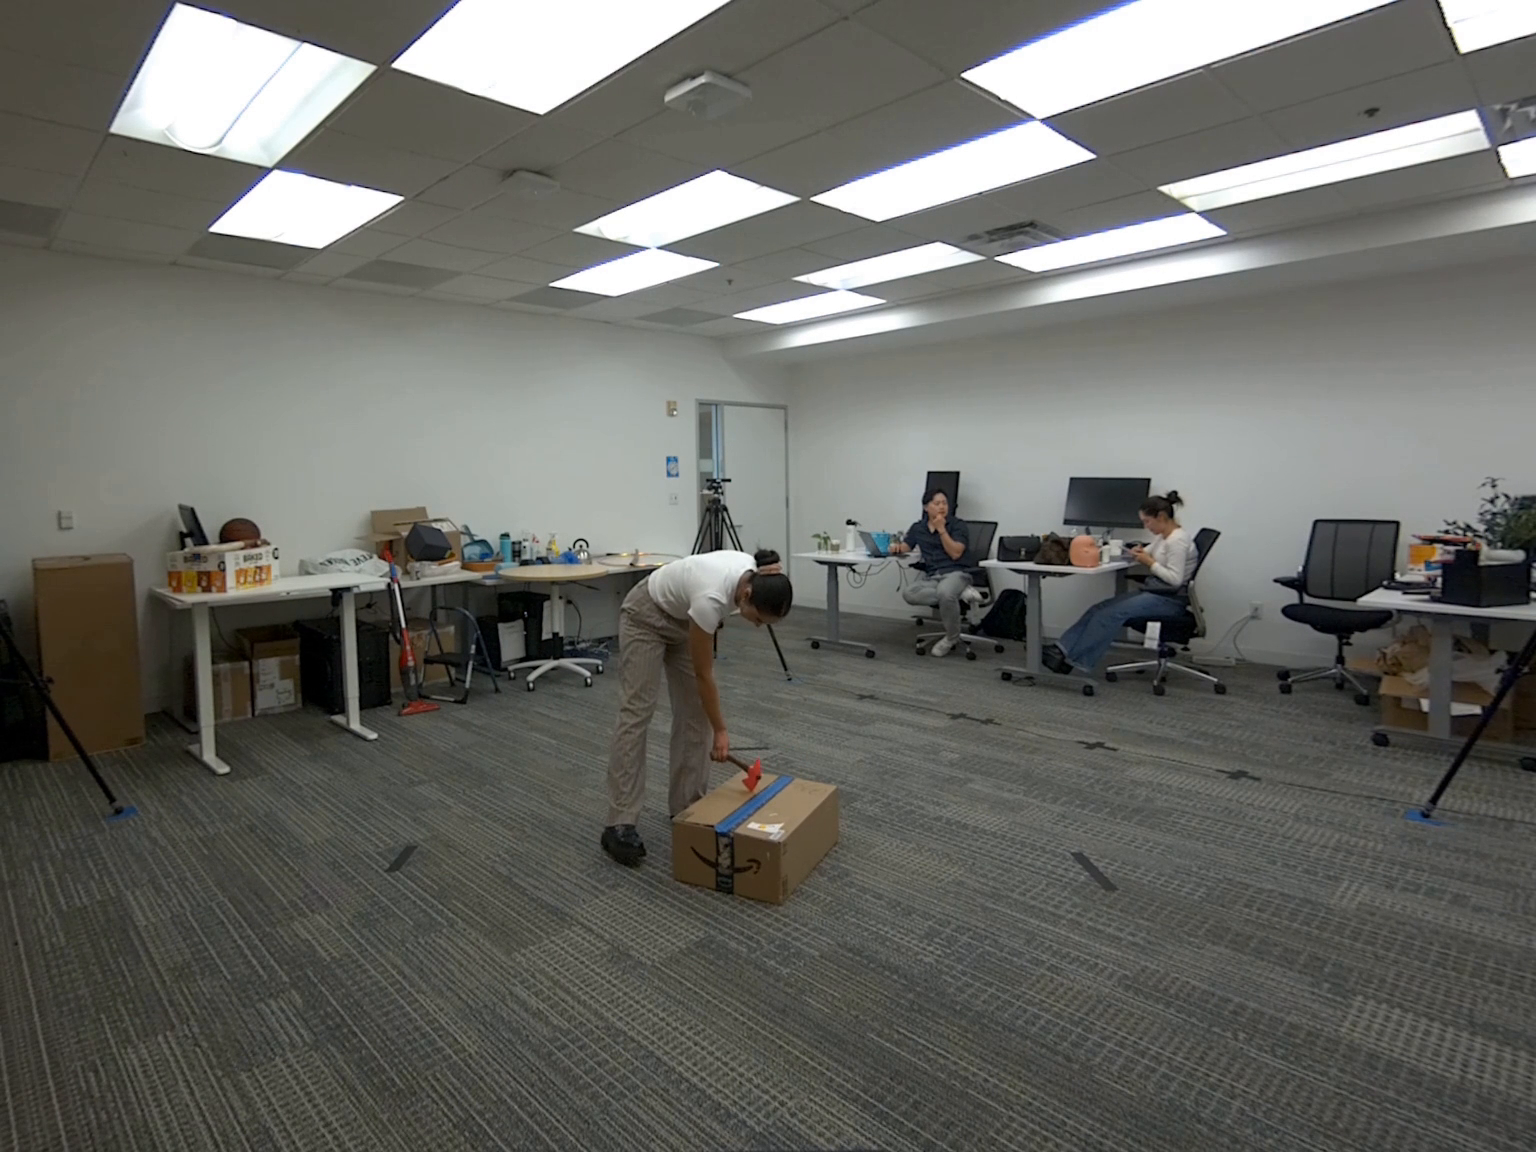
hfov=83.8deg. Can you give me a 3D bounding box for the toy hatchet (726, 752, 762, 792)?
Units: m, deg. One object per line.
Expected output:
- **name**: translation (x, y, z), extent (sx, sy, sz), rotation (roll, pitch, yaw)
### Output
- **toy hatchet**: translation (-0.126, 0.753, 3.284), extent (0.029, 0.131, 0.277), rotation (1, -5, -45)
